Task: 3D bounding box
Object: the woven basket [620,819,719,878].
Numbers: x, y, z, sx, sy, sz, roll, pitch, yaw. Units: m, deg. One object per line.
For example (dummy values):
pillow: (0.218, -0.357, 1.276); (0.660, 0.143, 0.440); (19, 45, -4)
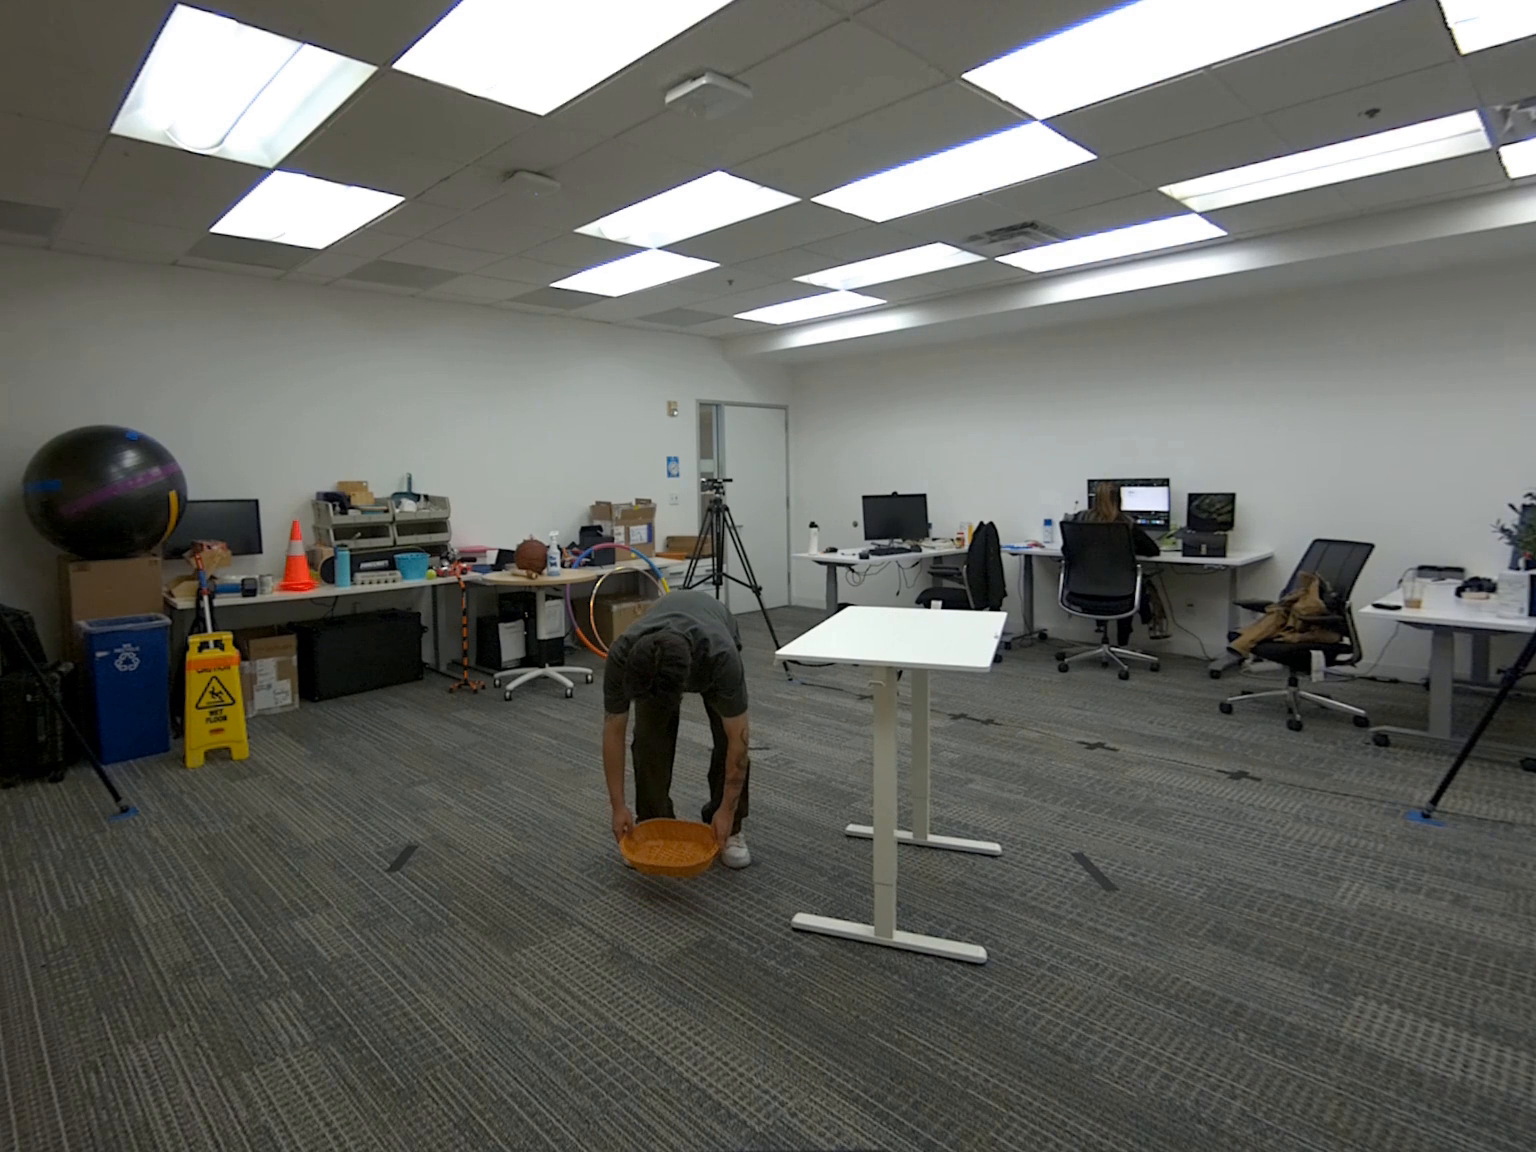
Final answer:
woven basket: (-0.335, 0.932, 2.872); (0.357, 0.072, 0.251); (2, 17, 20)
